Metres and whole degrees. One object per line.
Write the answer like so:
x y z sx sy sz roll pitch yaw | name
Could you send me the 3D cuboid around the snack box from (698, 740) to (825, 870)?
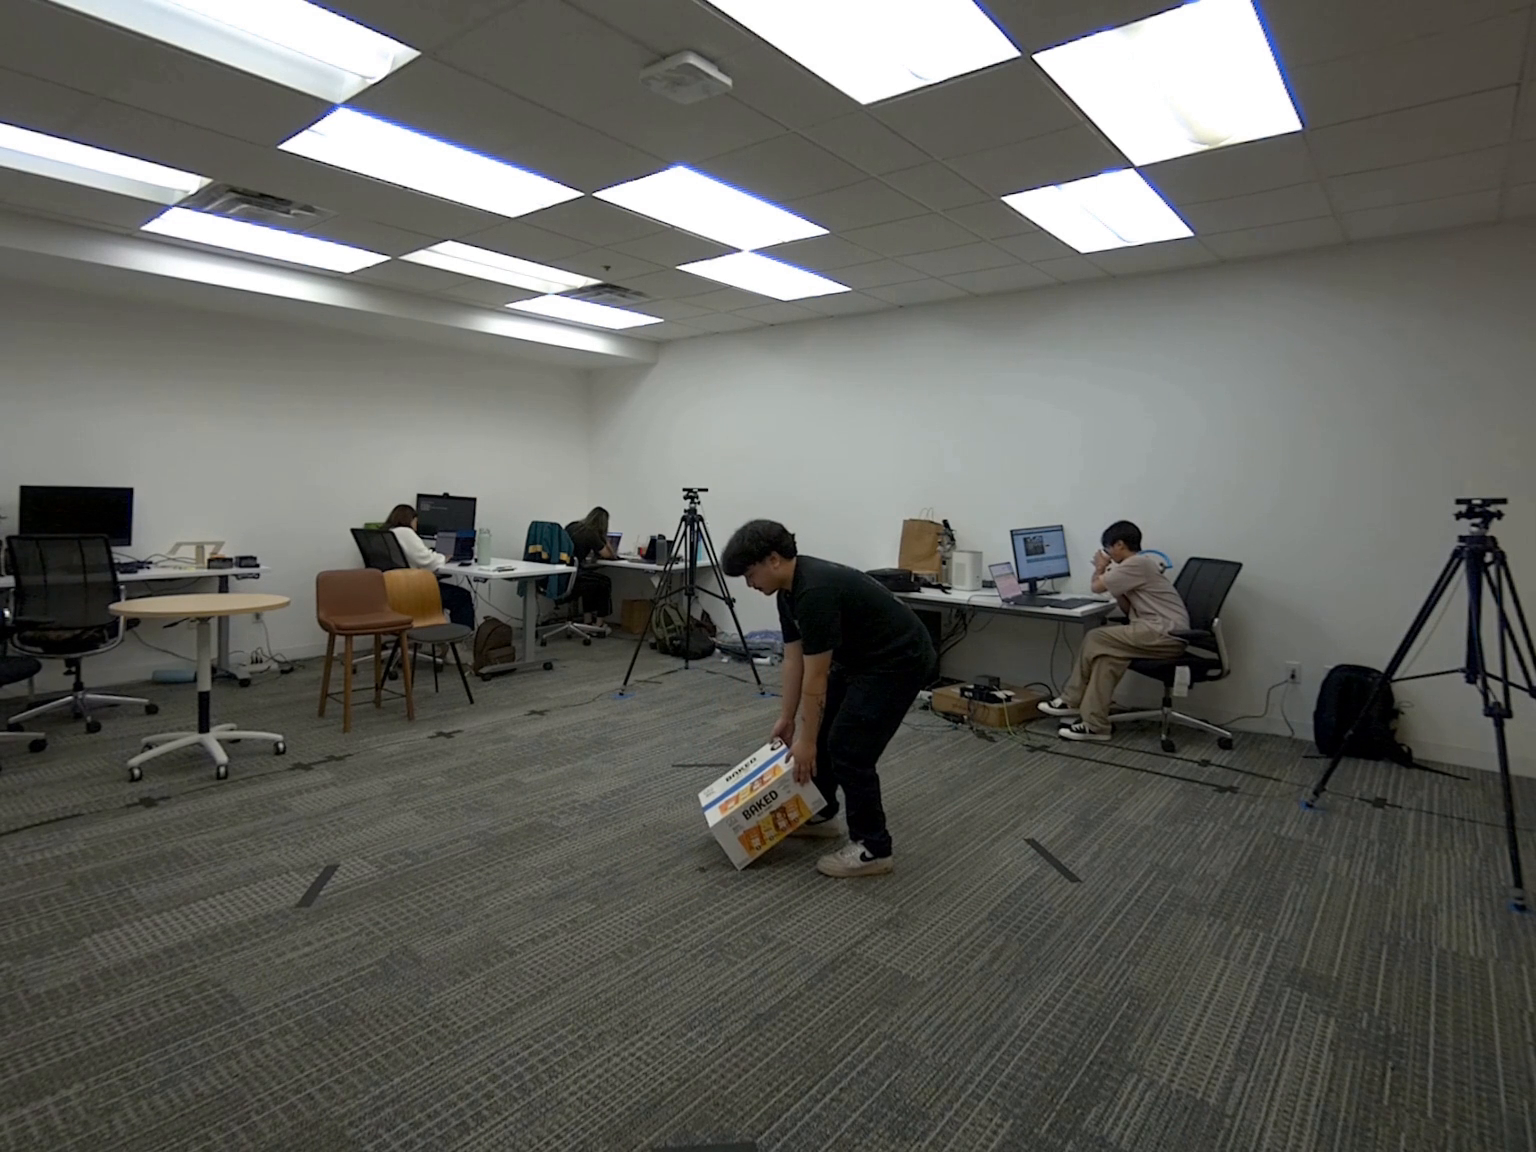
-0.040 0.860 3.270 0.404 0.203 0.345 -35 11 -7 | snack box
